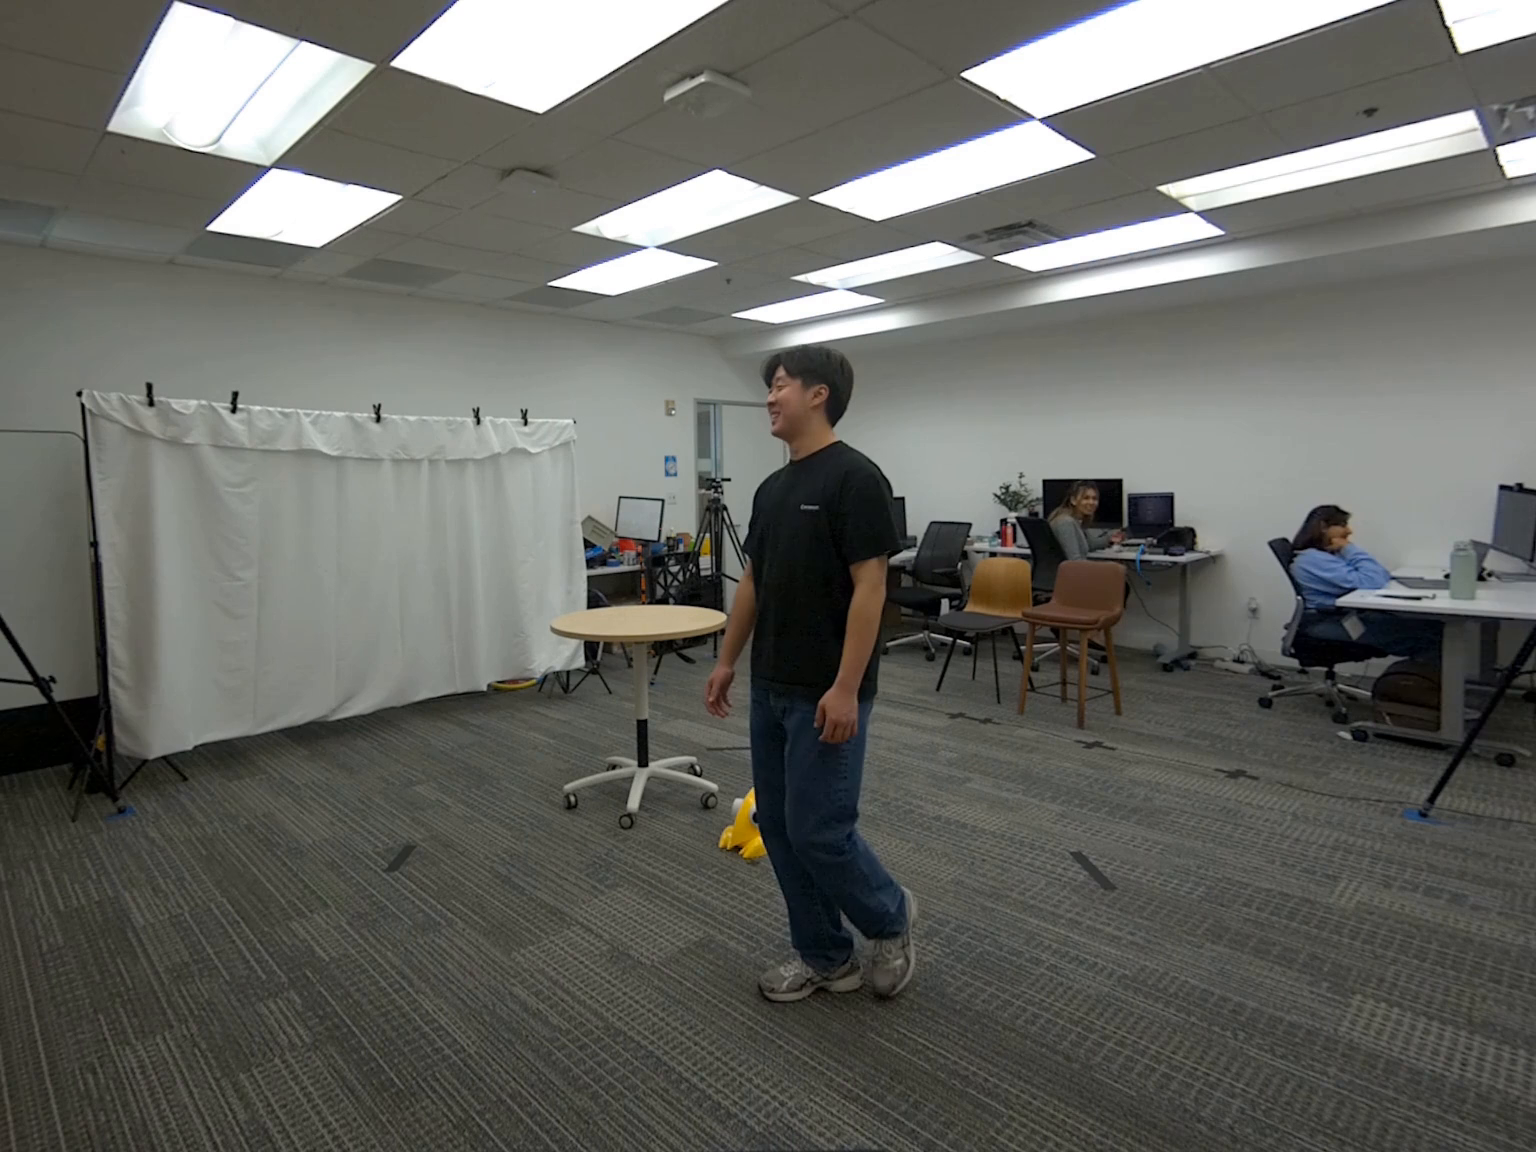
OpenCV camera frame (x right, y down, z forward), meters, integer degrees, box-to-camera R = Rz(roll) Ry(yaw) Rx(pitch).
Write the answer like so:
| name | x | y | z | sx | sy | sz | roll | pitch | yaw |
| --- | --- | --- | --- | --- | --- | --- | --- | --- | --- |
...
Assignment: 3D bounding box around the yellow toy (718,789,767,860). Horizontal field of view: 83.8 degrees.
| name | x | y | z | sx | sy | sz | roll | pitch | yaw |
| --- | --- | --- | --- | --- | --- | --- | --- | --- | --- |
| yellow toy | -0.074 | 0.913 | 3.246 | 0.211 | 0.230 | 0.188 | 4 | 6 | 43 |
